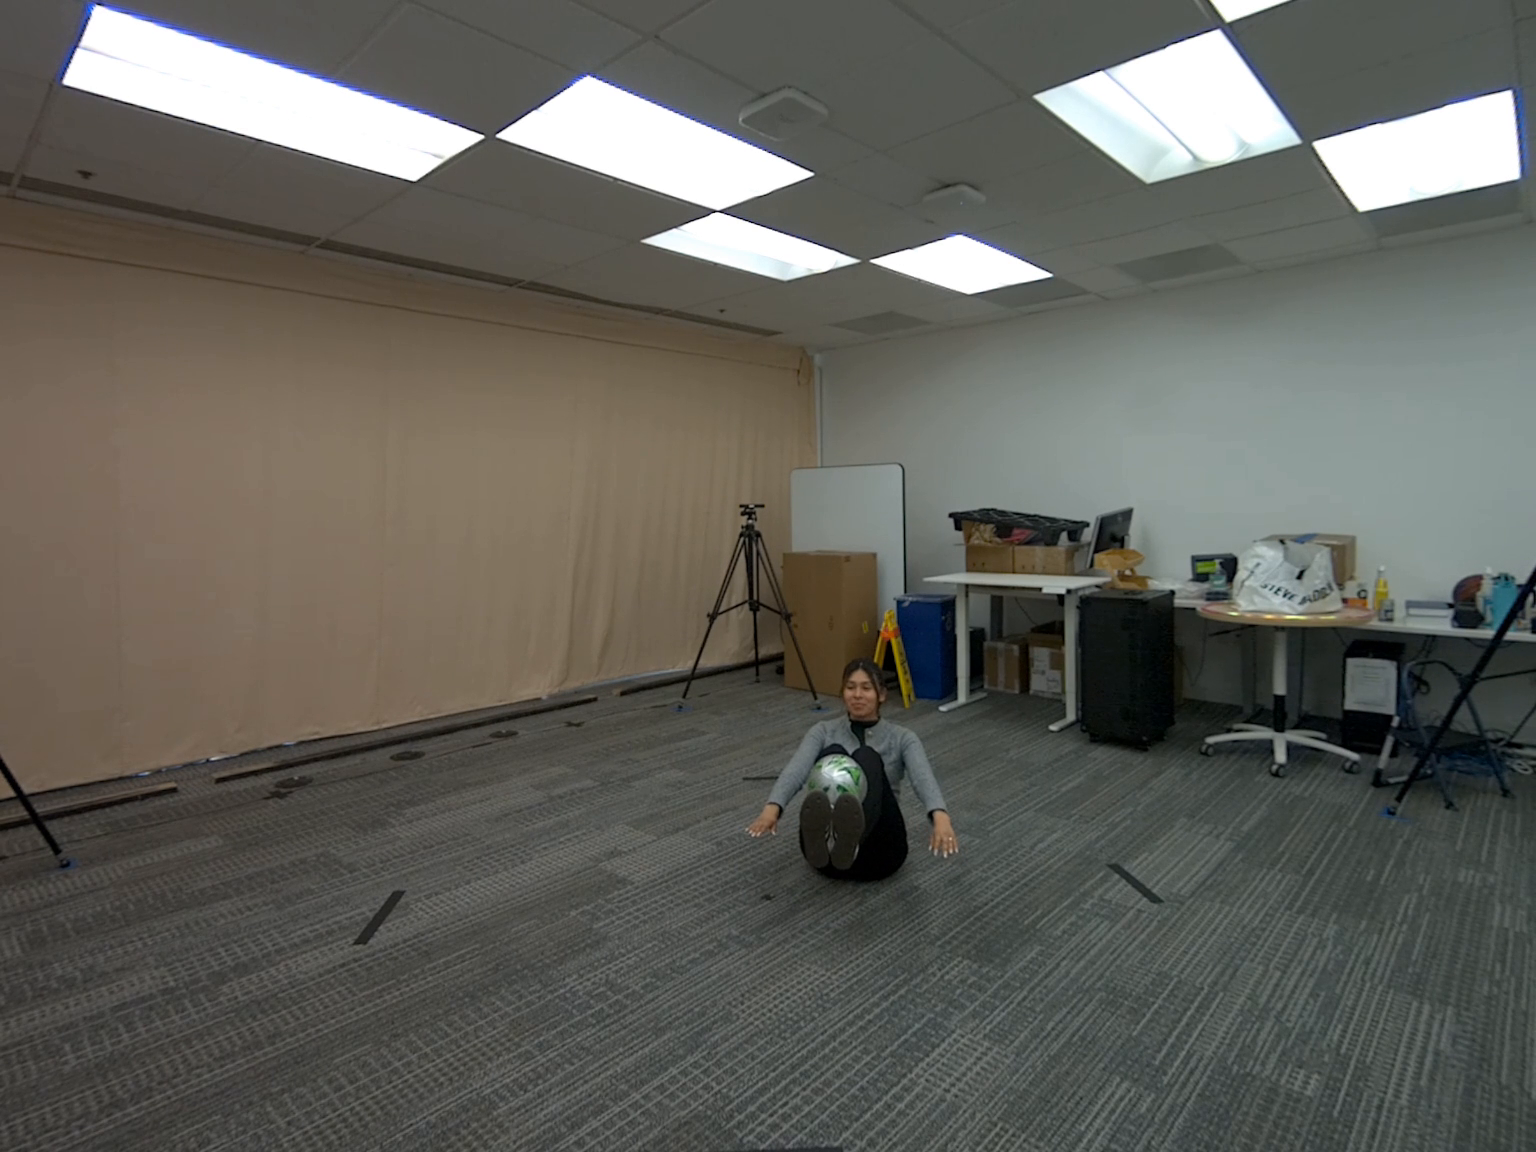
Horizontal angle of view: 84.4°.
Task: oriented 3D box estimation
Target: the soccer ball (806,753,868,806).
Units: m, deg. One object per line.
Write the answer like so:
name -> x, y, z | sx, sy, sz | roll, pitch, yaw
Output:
soccer ball -> 0.226, 0.669, 2.665 | 0.187, 0.187, 0.188 | -1, 4, -2
